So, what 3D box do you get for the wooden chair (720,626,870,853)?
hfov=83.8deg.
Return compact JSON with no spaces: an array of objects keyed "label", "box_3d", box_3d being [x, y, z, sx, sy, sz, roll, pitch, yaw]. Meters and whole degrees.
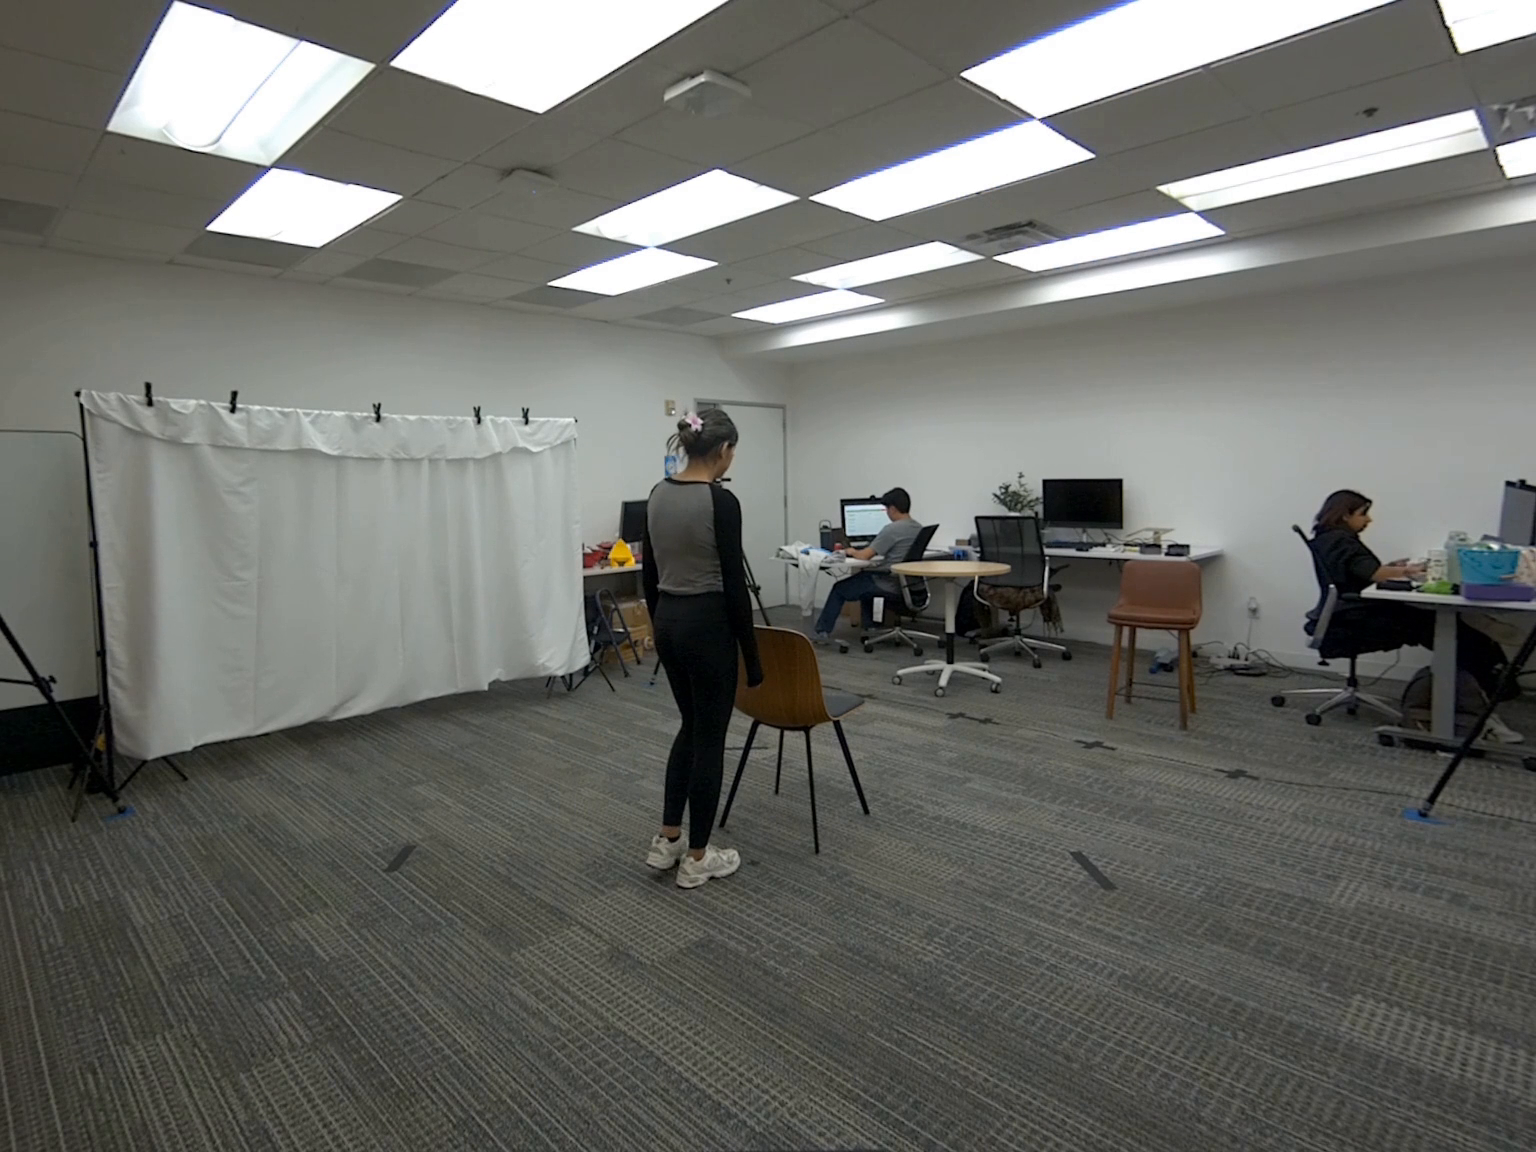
[{"label":"wooden chair","box_3d":[0.109,0.572,3.456,0.491,0.871,0.513,2,9,33]}]
